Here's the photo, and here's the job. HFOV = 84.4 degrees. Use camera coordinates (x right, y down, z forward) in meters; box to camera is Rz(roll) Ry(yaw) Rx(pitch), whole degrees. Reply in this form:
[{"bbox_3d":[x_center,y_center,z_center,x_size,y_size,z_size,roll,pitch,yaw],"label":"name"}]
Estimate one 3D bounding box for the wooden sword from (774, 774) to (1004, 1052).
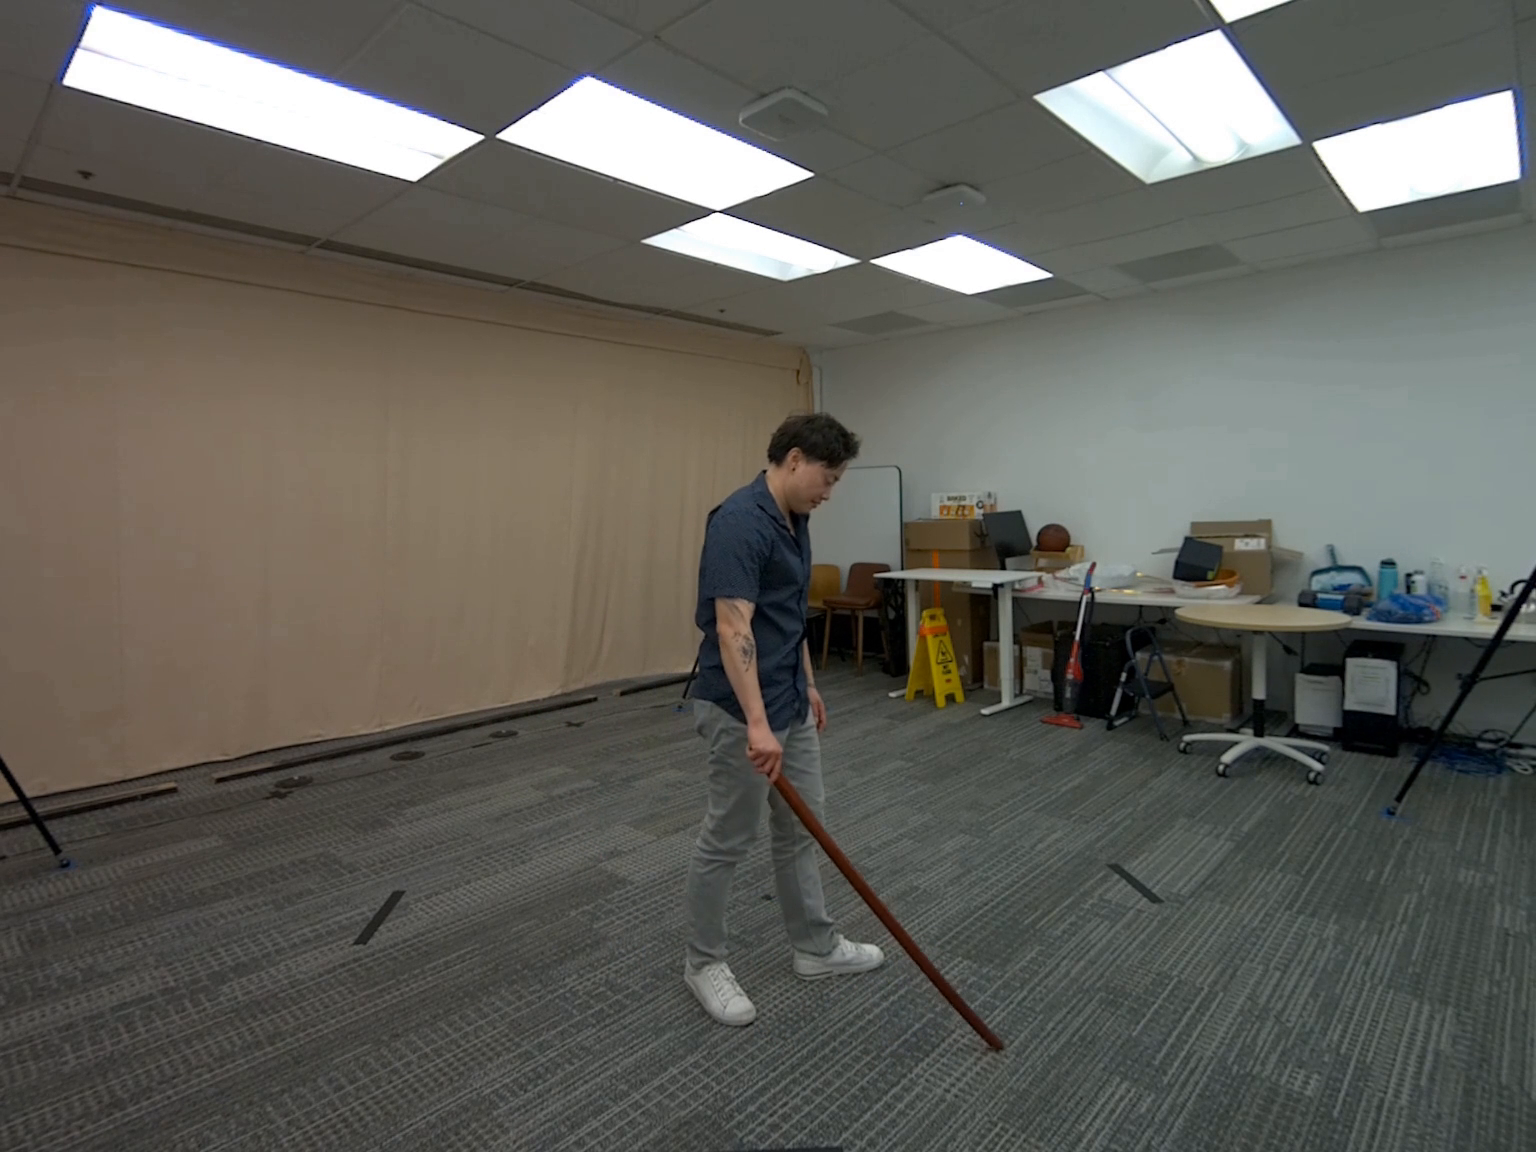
[{"bbox_3d":[0.285,0.821,2.067,0.024,1.013,0.051,-28,15,50],"label":"wooden sword"}]
